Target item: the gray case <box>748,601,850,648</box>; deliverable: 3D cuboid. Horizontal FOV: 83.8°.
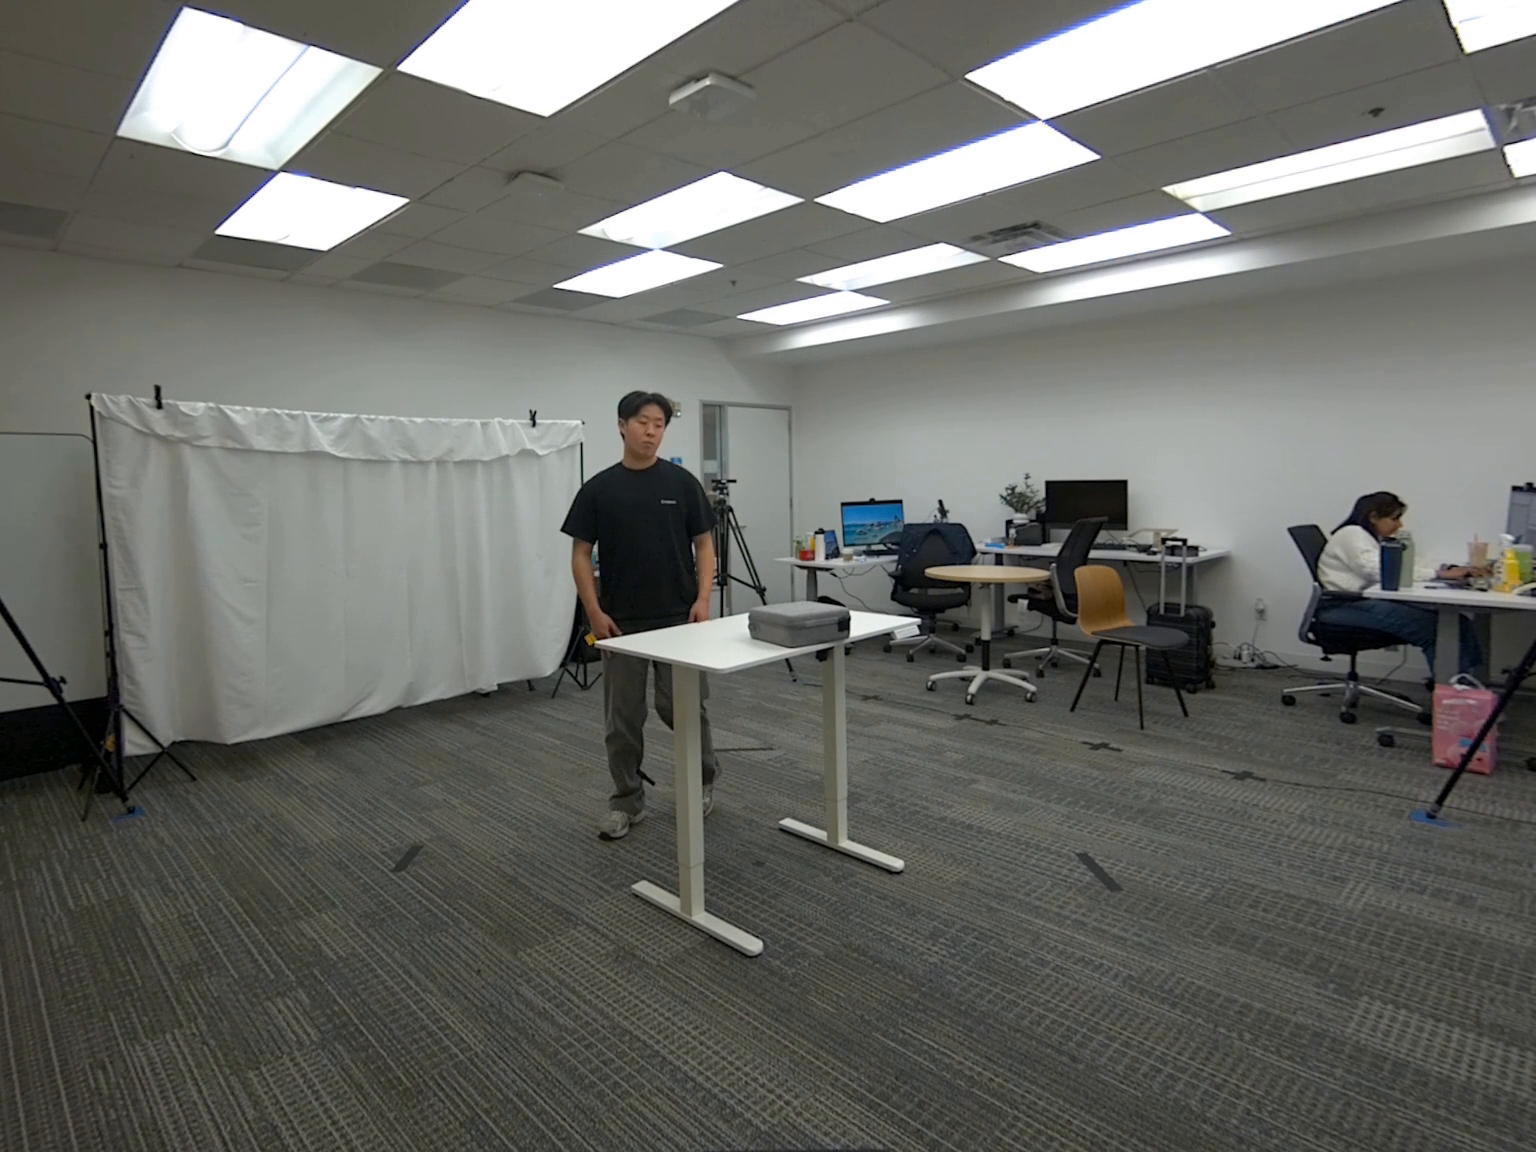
[{"bbox_3d":[0.100,0.149,2.750,0.251,0.104,0.268,-7,7,-32],"label":"gray case"}]
